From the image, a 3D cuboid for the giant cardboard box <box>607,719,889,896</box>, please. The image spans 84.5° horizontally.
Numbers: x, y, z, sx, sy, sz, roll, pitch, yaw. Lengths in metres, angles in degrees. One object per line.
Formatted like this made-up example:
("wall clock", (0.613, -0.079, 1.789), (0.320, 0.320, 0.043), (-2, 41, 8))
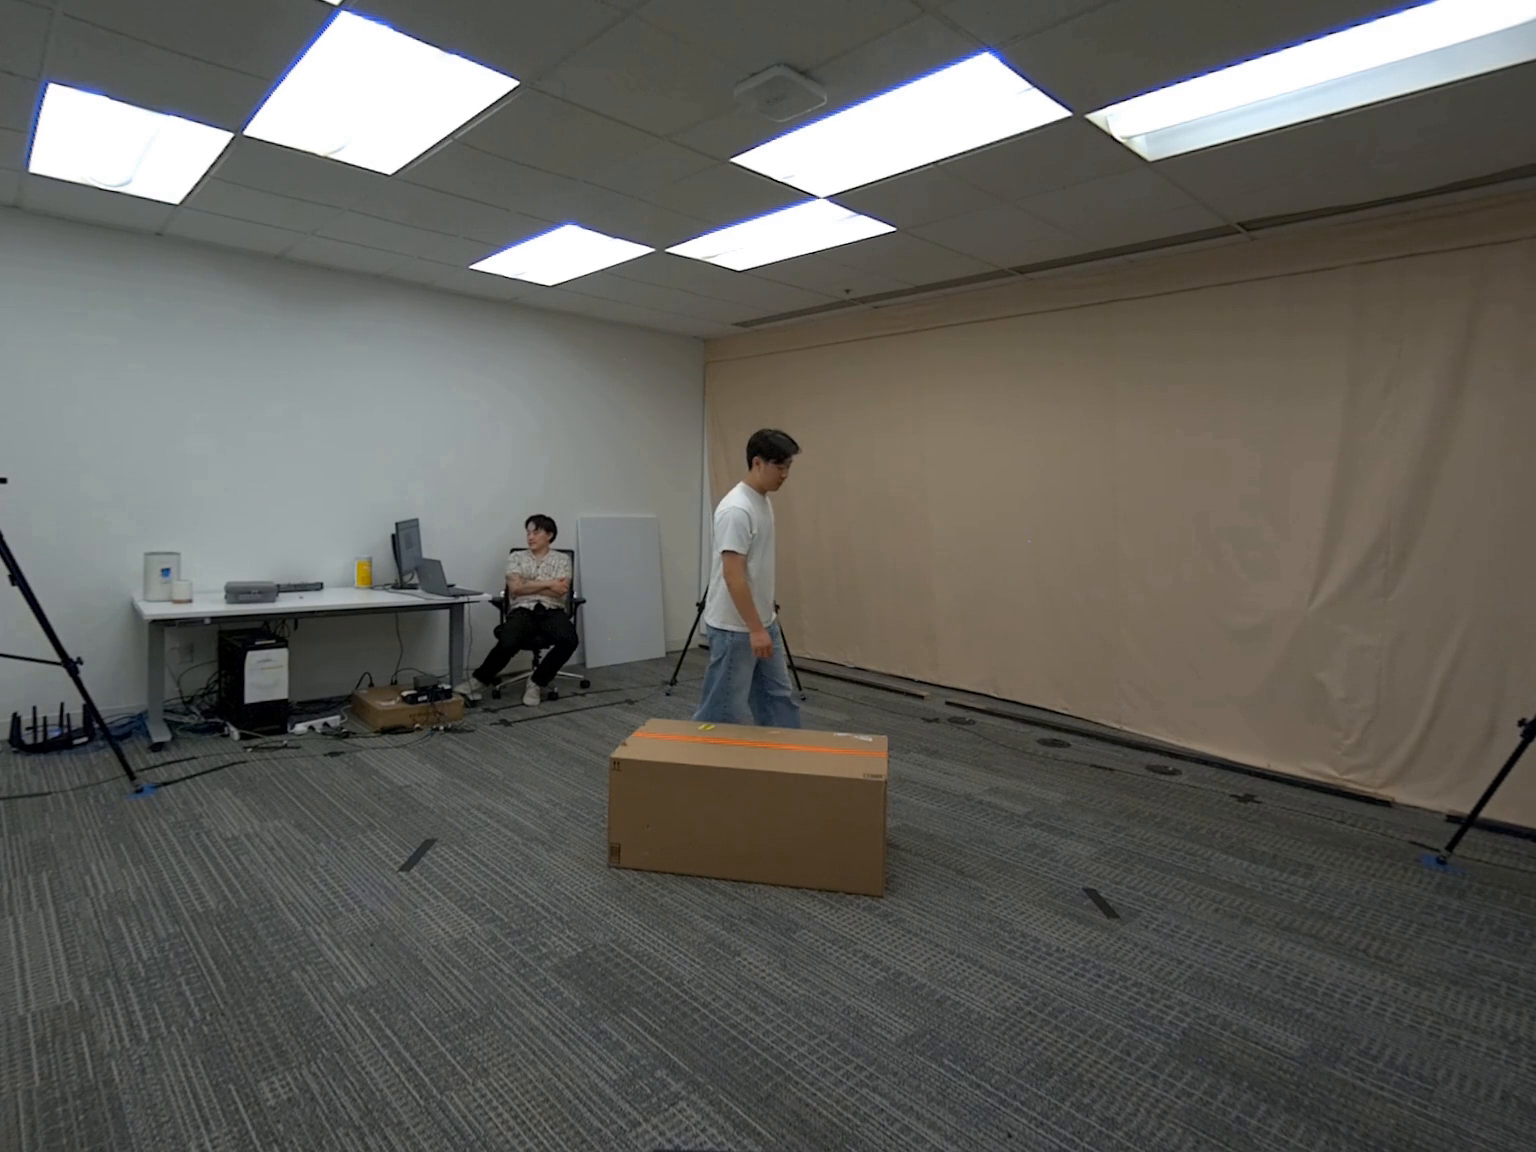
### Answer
("giant cardboard box", (-0.056, 0.871, 3.315), (1.034, 0.425, 0.574), (2, 4, 10))
